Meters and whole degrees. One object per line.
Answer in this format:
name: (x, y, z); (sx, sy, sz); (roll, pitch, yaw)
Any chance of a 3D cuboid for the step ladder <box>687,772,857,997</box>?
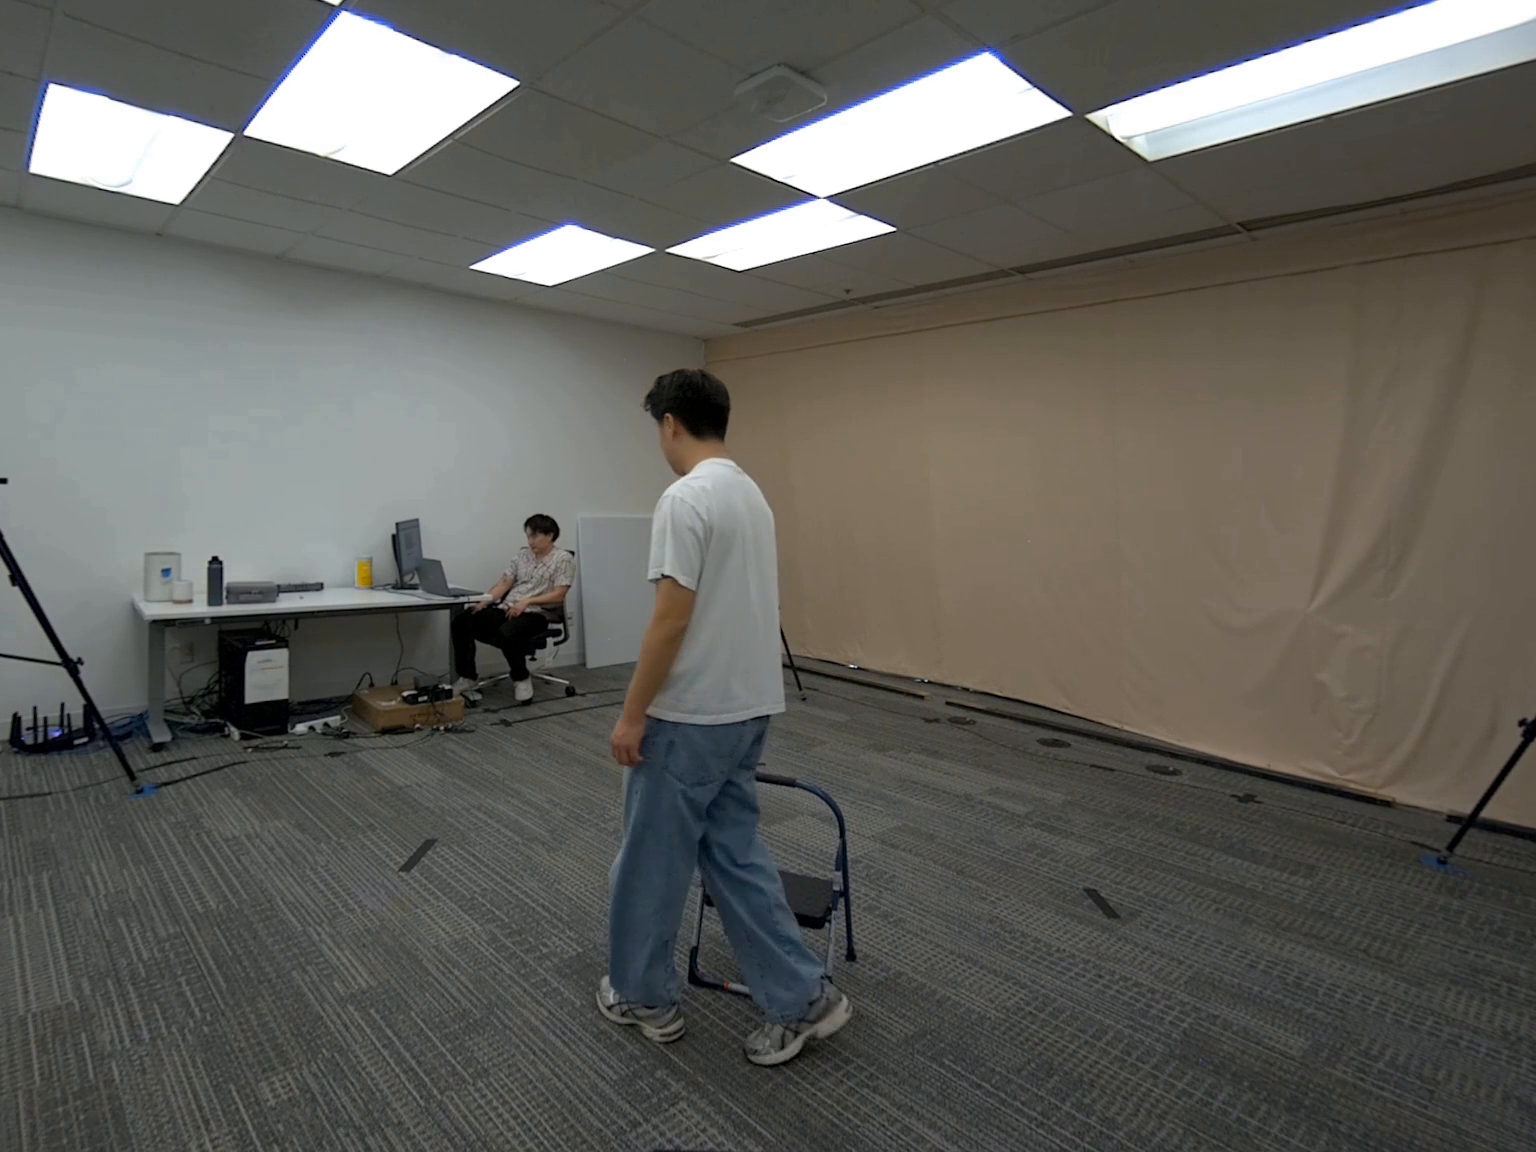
step ladder: (0.024, 0.868, 2.476); (0.437, 0.605, 0.344); (3, 3, 19)
